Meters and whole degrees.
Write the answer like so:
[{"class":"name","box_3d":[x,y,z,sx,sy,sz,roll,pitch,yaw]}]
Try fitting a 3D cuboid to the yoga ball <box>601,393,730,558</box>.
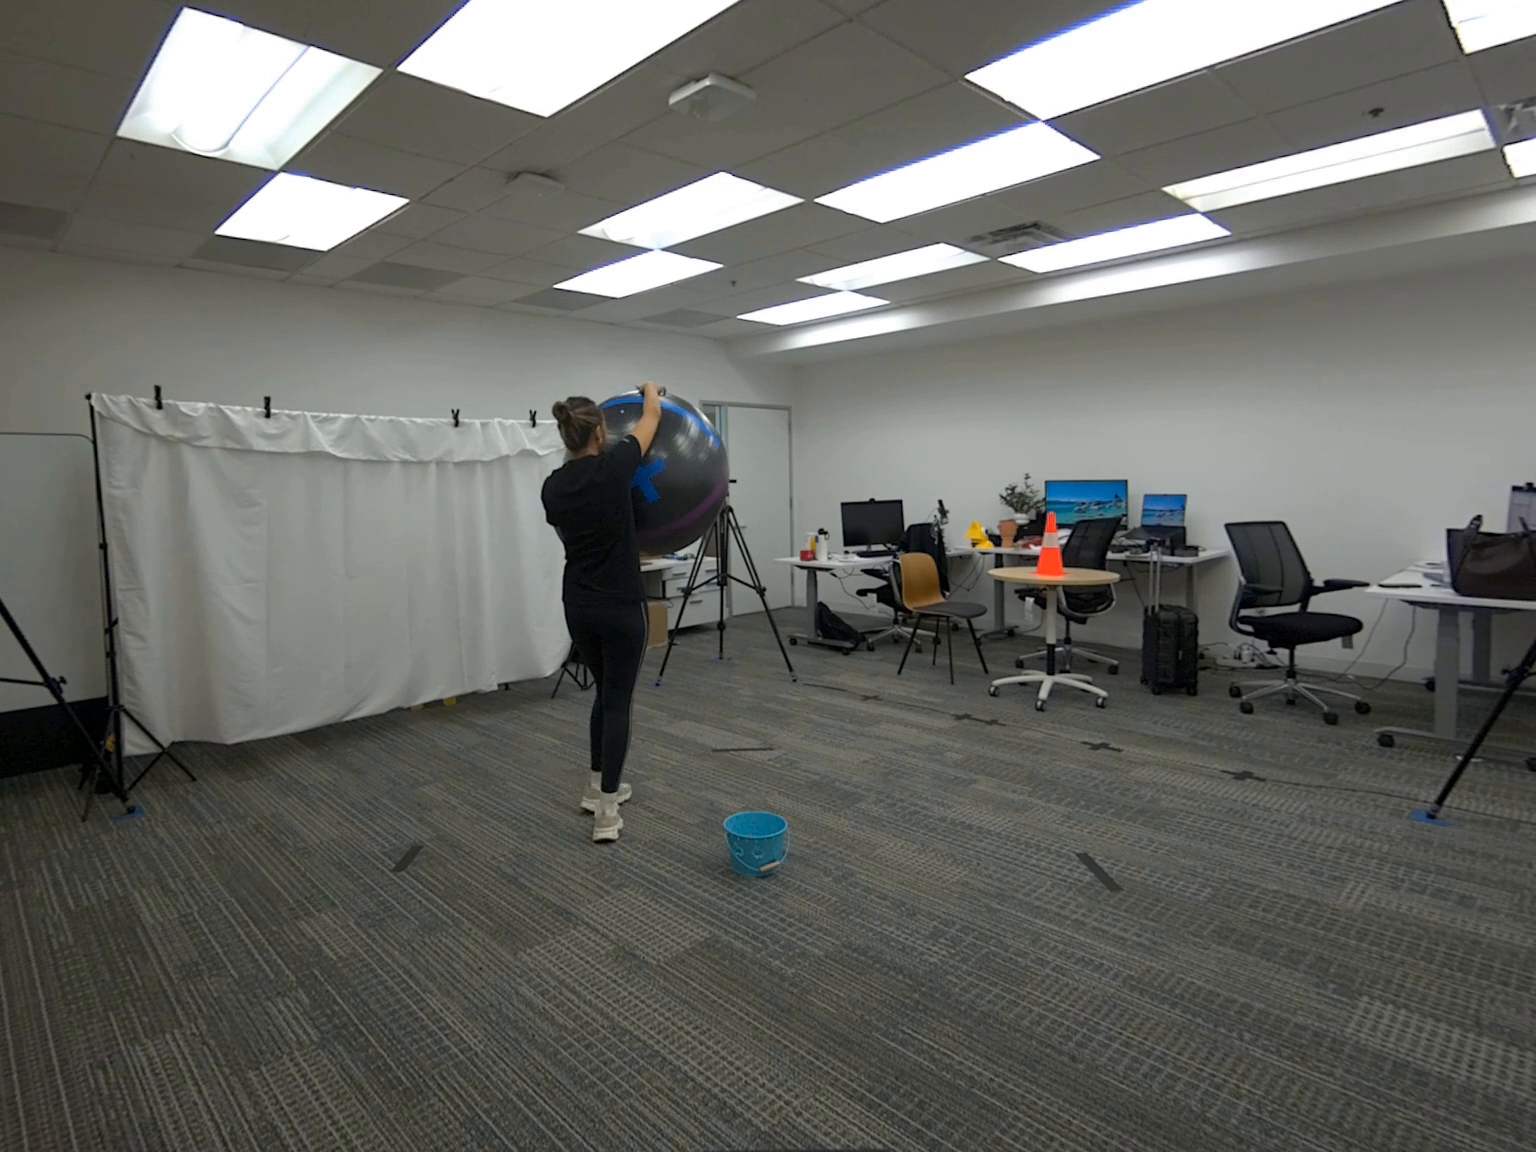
[{"class":"yoga ball","box_3d":[-0.558,-0.459,3.905,0.757,0.755,0.762,-1,5,-2]}]
